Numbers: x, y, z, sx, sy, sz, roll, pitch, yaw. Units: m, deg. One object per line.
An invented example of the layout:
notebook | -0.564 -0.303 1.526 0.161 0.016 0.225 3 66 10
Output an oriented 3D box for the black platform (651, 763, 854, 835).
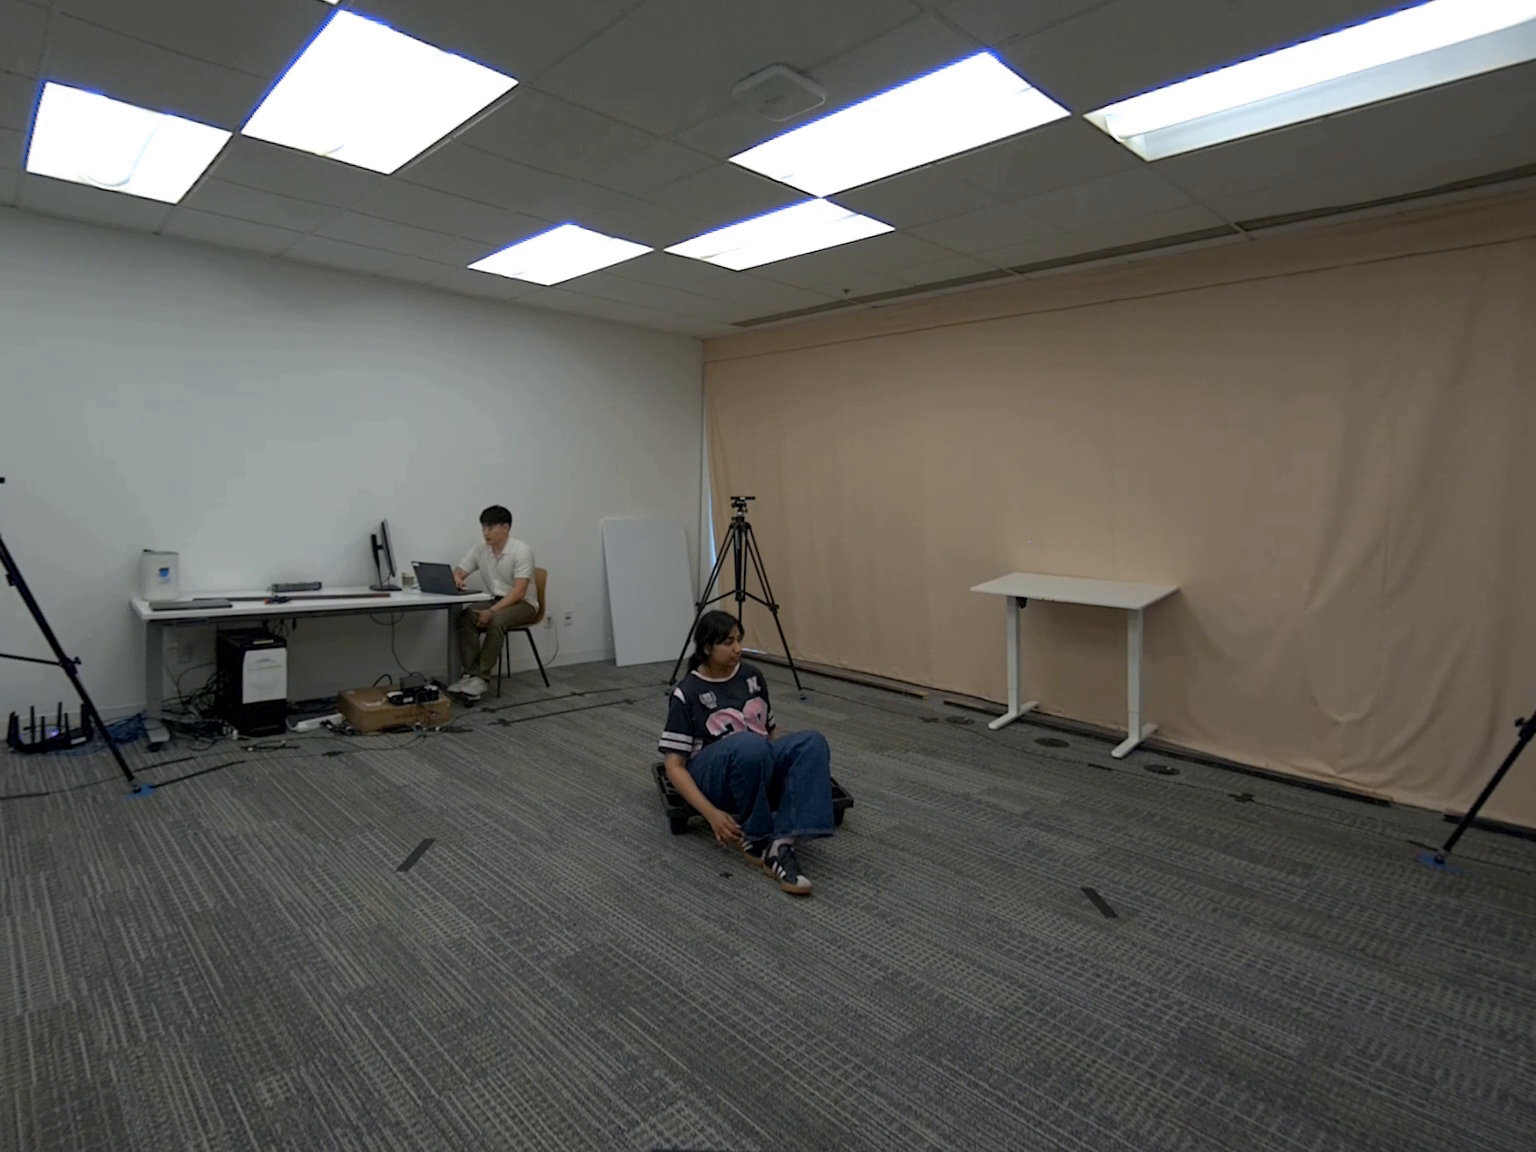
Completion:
black platform | -0.094 0.983 3.770 0.798 0.143 0.612 -1 5 -11
